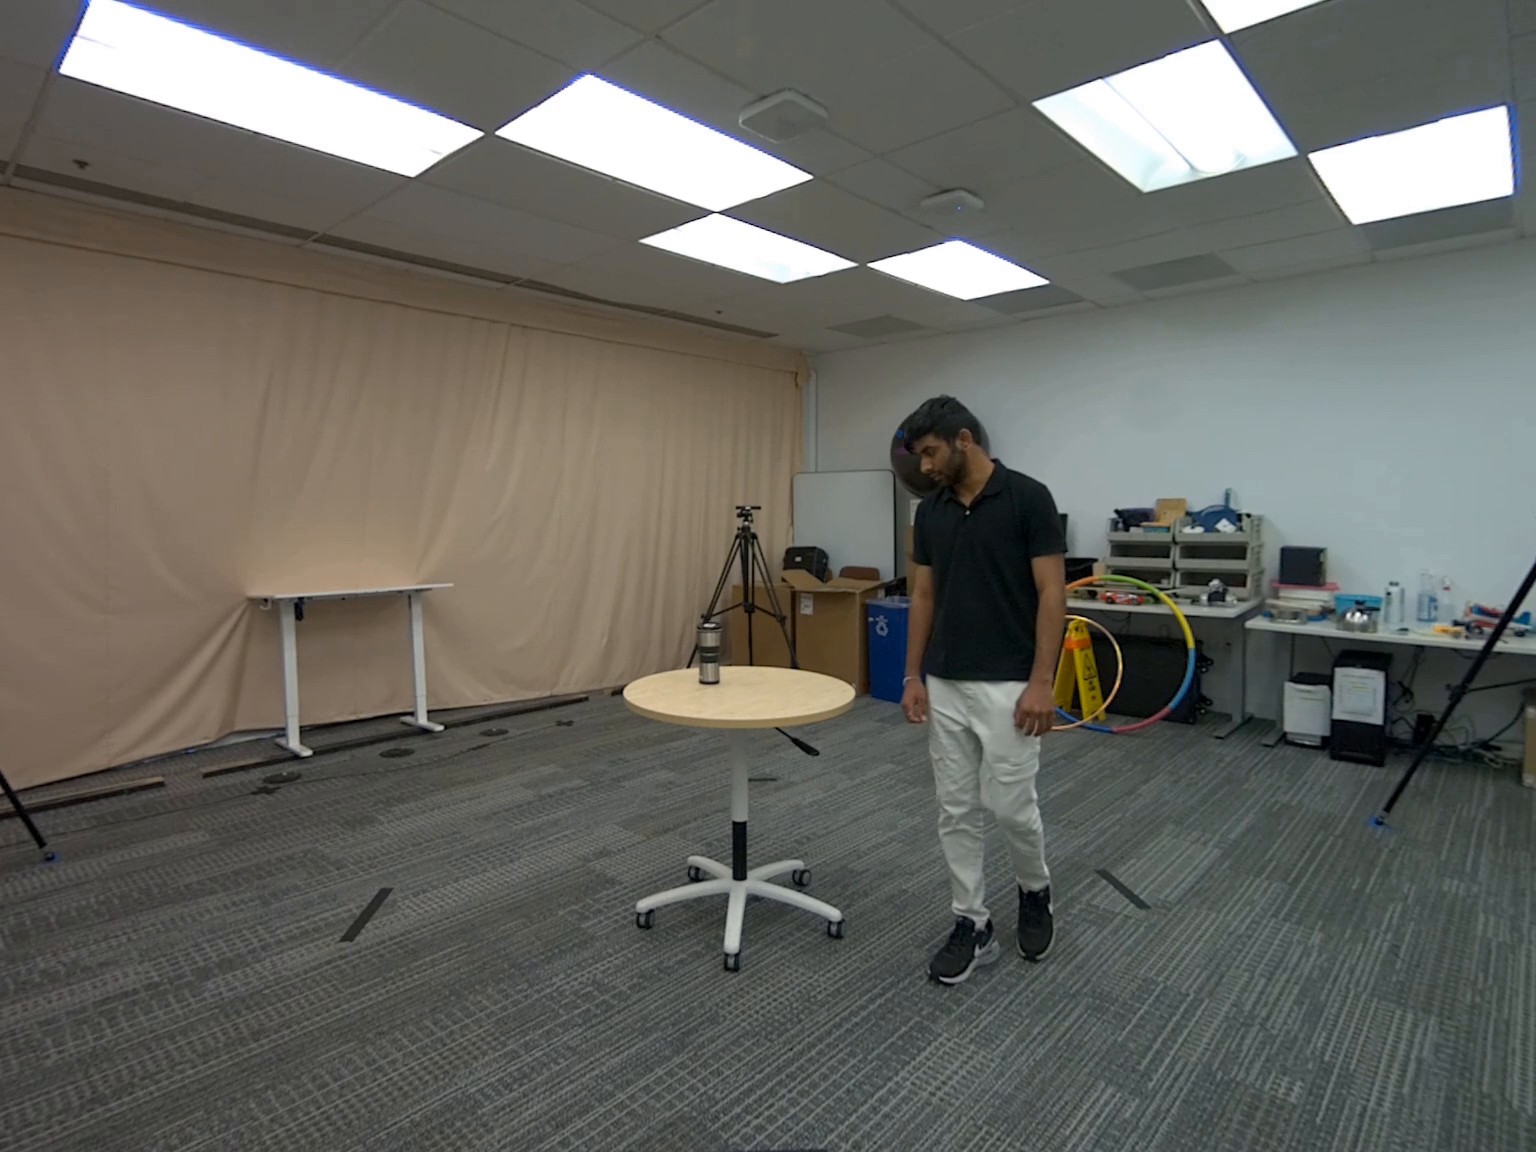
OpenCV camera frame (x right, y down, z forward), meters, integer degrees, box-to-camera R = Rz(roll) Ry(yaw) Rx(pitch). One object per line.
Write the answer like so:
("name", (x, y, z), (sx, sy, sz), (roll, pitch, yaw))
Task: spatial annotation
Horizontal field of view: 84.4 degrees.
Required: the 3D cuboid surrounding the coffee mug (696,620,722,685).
("coffee mug", (-0.193, 0.274, 2.883), (0.085, 0.203, 0.125), (-1, 1, -35))
